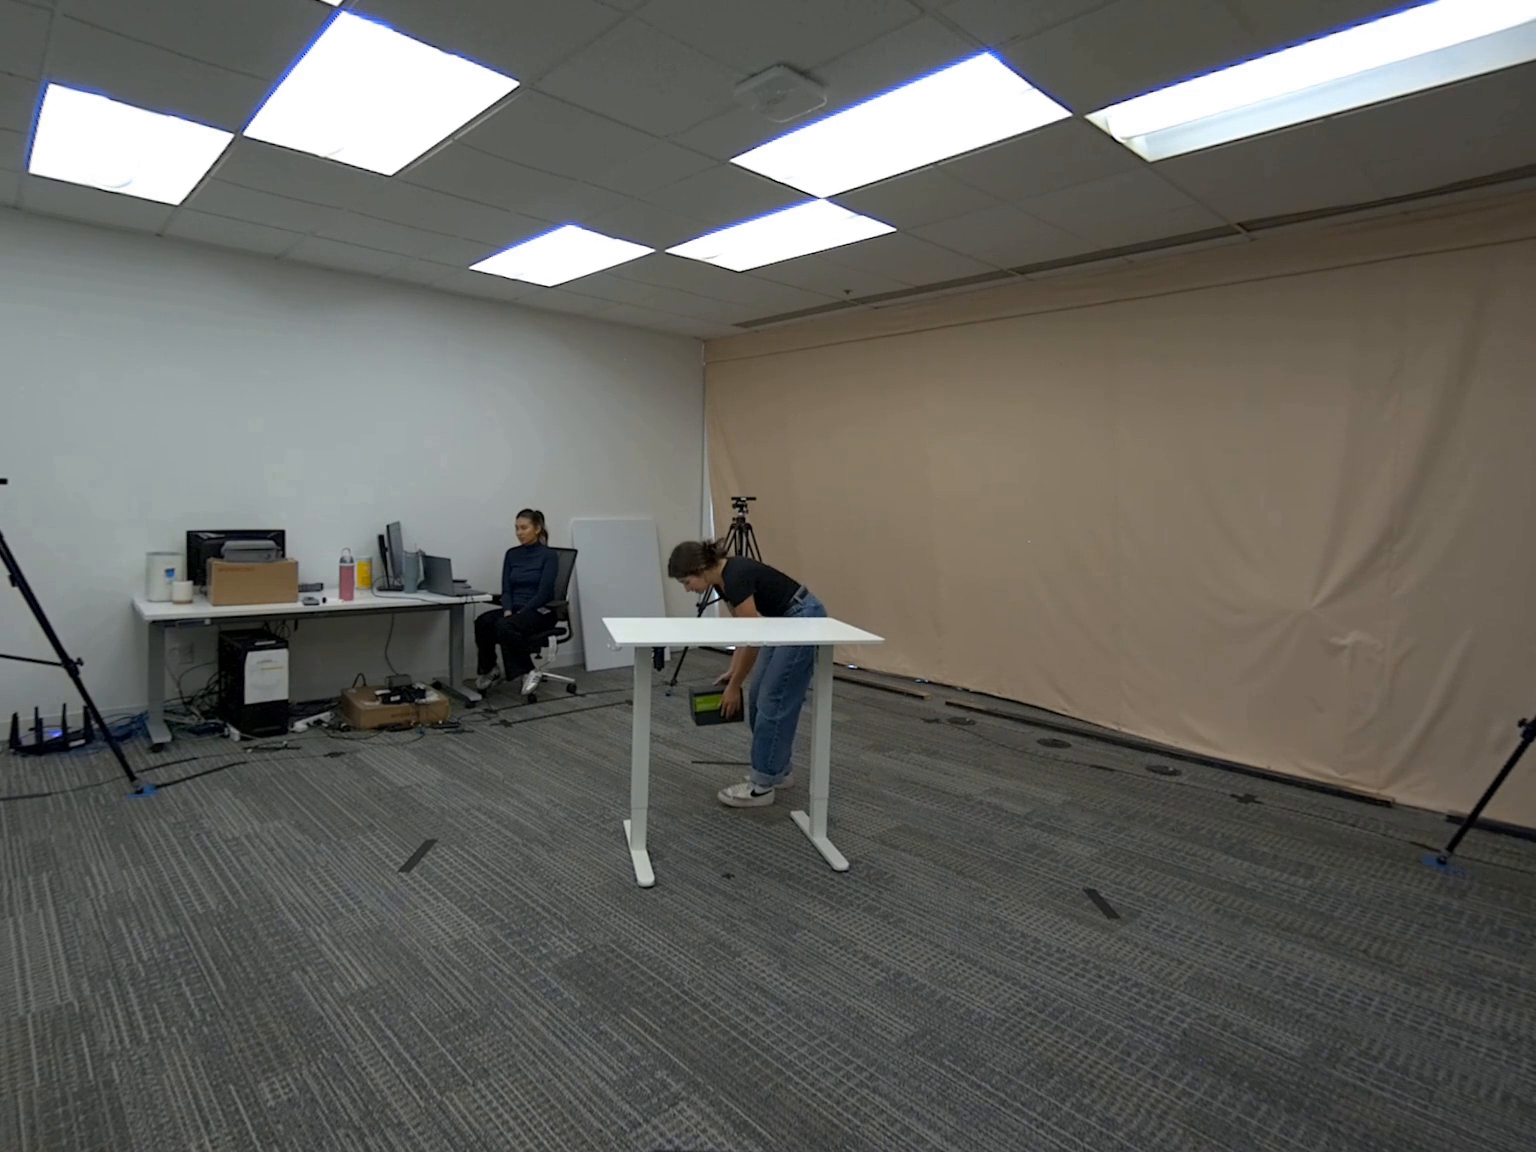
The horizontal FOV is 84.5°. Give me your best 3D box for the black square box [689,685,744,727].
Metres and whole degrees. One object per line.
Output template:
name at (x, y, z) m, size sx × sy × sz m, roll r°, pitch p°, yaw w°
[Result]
black square box at (-0.255, 0.602, 3.991) m, size 0.226 × 0.156 × 0.219 m, roll -3°, pitch 1°, yaw -10°
